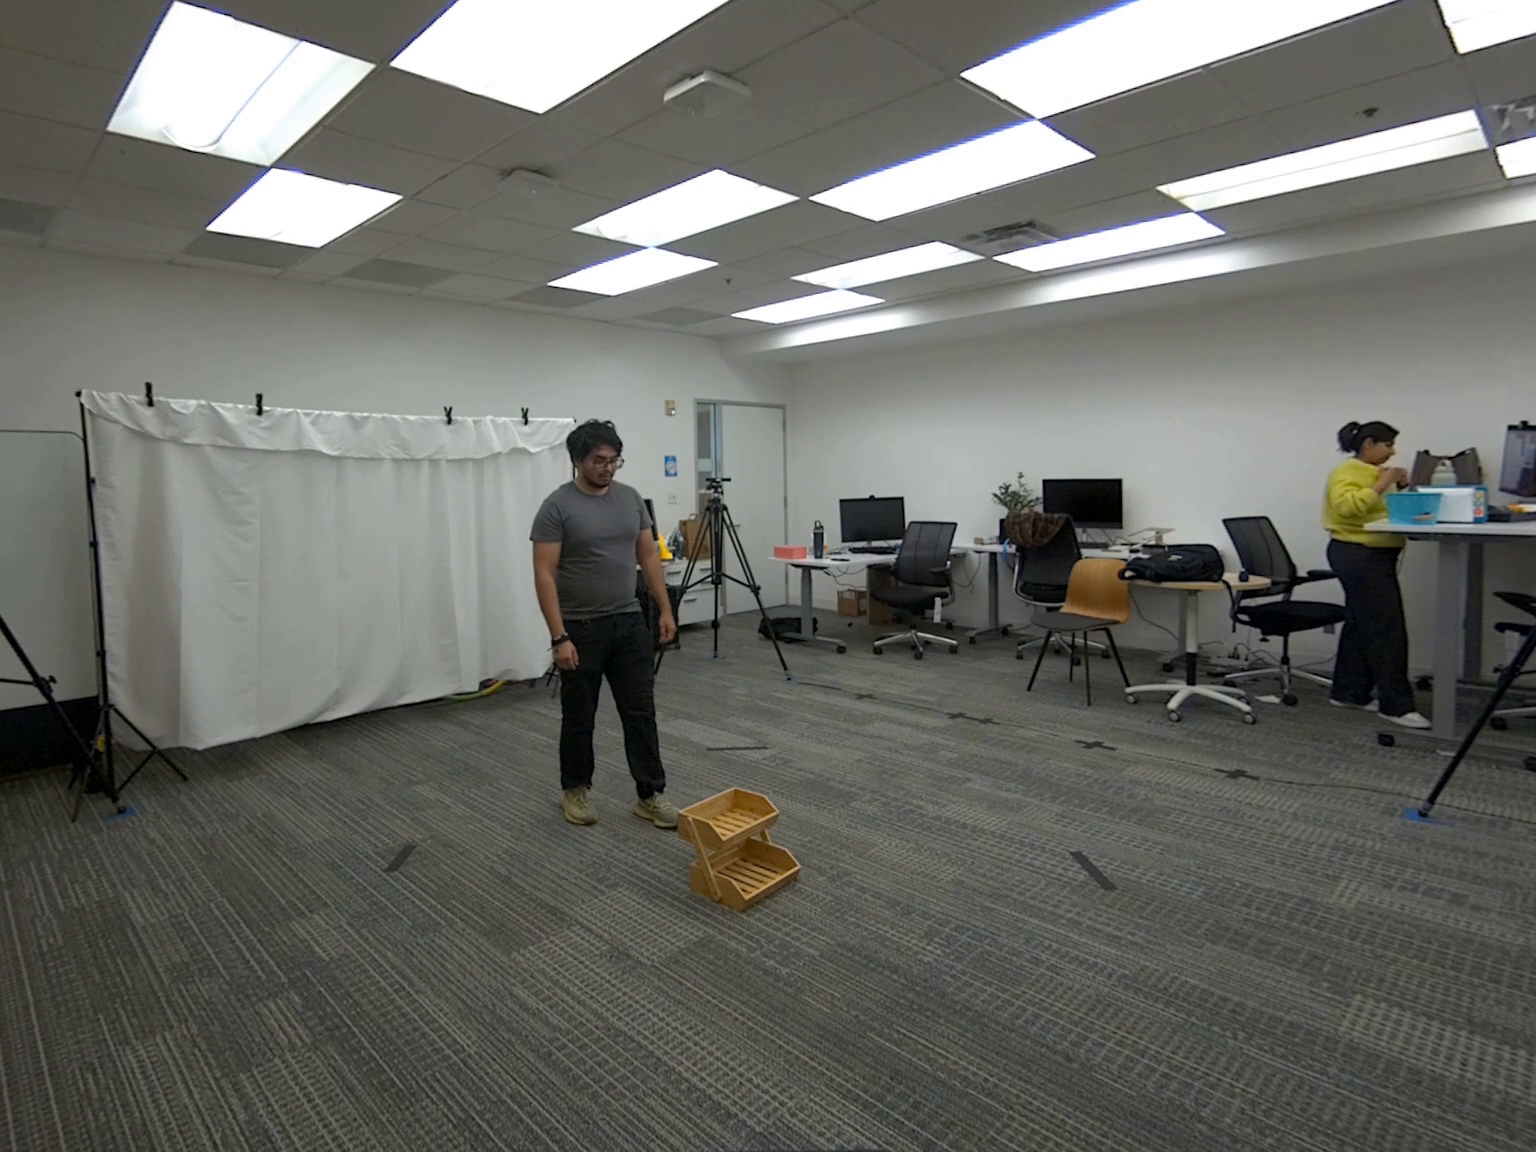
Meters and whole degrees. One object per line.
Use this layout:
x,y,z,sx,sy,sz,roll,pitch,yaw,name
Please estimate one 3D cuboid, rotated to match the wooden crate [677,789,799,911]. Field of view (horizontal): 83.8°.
-0.097,0.921,2.948,0.311,0.272,0.316,3,7,40,wooden crate
